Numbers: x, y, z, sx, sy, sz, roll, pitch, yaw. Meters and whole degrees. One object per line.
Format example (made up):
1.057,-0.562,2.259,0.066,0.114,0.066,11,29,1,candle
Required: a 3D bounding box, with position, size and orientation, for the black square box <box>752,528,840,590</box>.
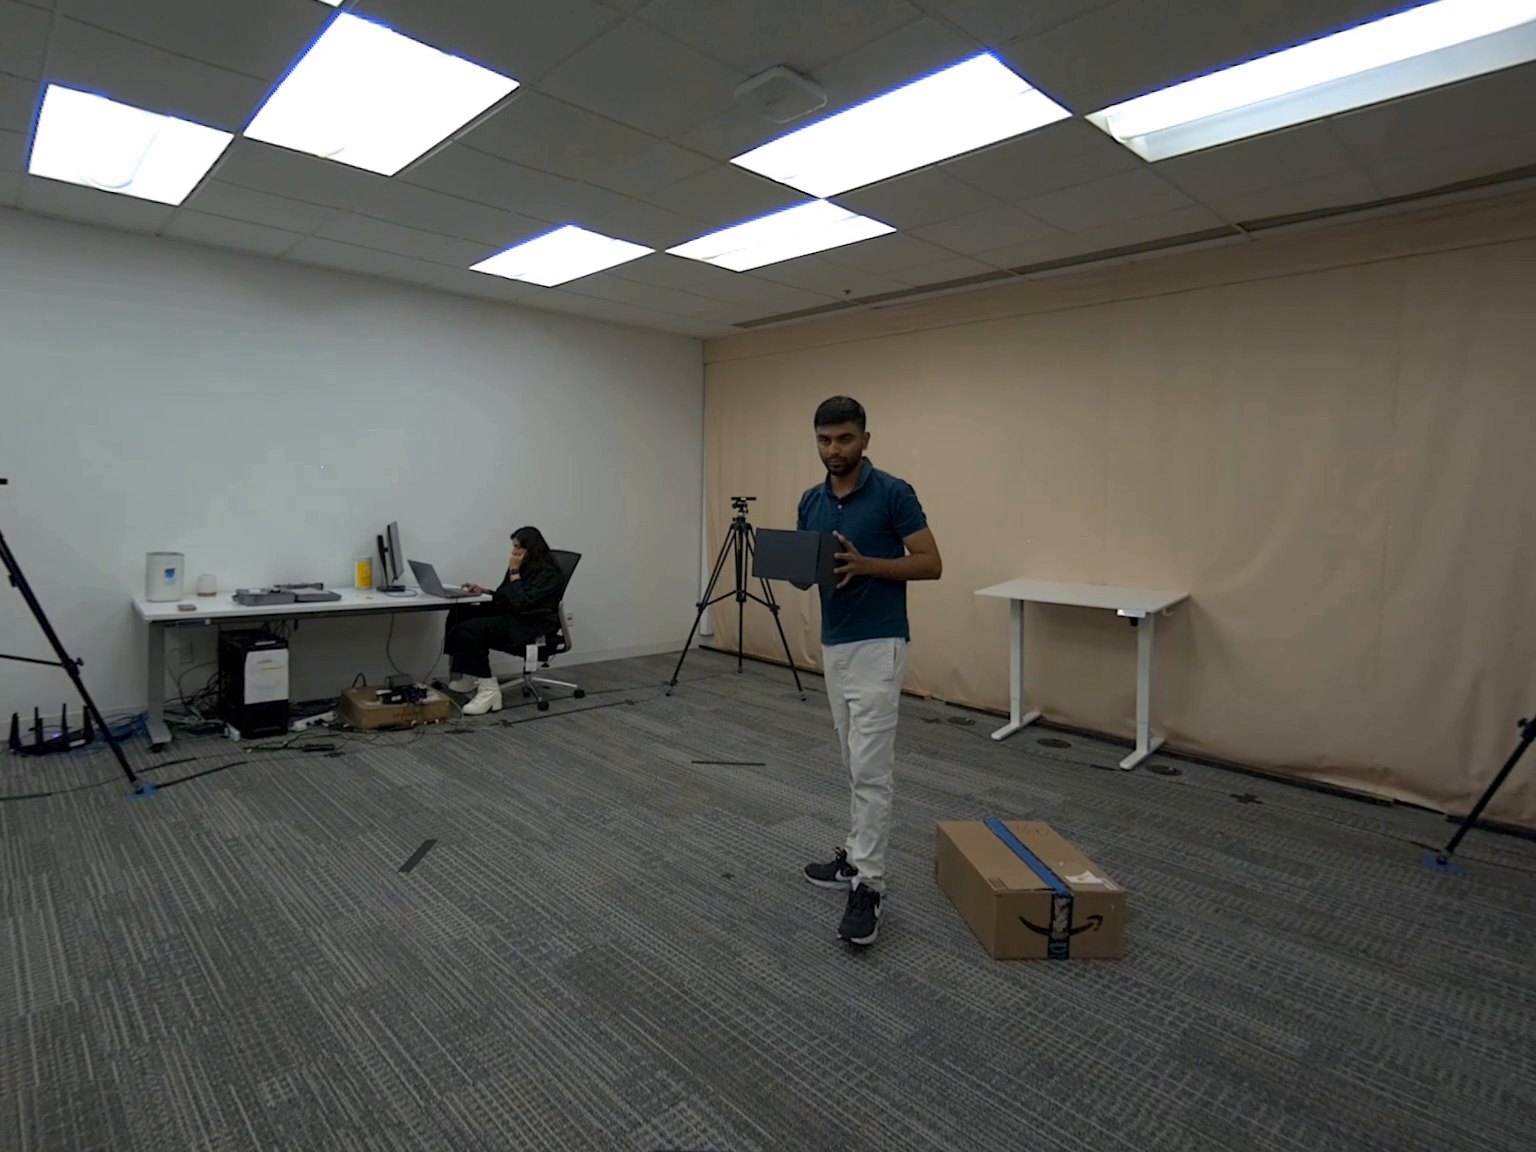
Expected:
0.094,-0.059,2.655,0.233,0.156,0.212,5,0,31,black square box
